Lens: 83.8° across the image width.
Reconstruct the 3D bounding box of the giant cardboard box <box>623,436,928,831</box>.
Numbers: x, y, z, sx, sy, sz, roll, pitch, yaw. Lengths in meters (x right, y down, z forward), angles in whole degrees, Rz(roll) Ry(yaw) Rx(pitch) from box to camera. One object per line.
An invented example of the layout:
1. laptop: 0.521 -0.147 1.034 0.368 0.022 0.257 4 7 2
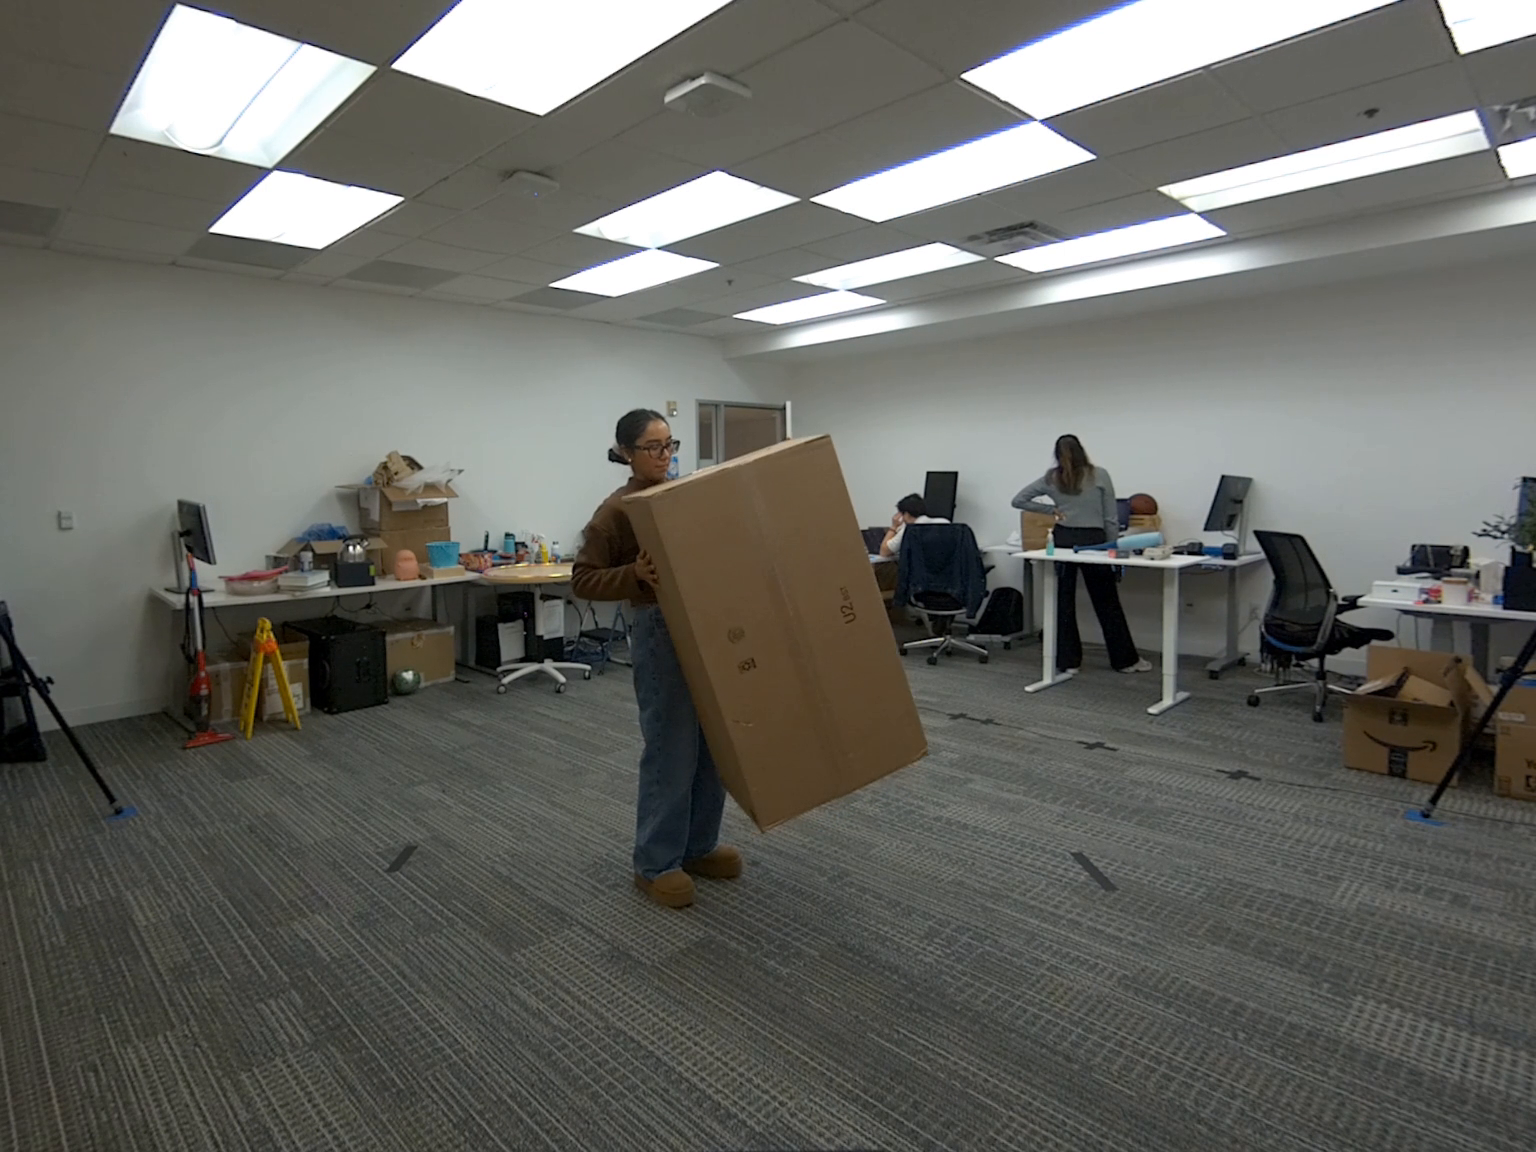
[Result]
1. giant cardboard box: 0.013 0.149 2.655 0.573 1.017 0.433 -21 8 -14
